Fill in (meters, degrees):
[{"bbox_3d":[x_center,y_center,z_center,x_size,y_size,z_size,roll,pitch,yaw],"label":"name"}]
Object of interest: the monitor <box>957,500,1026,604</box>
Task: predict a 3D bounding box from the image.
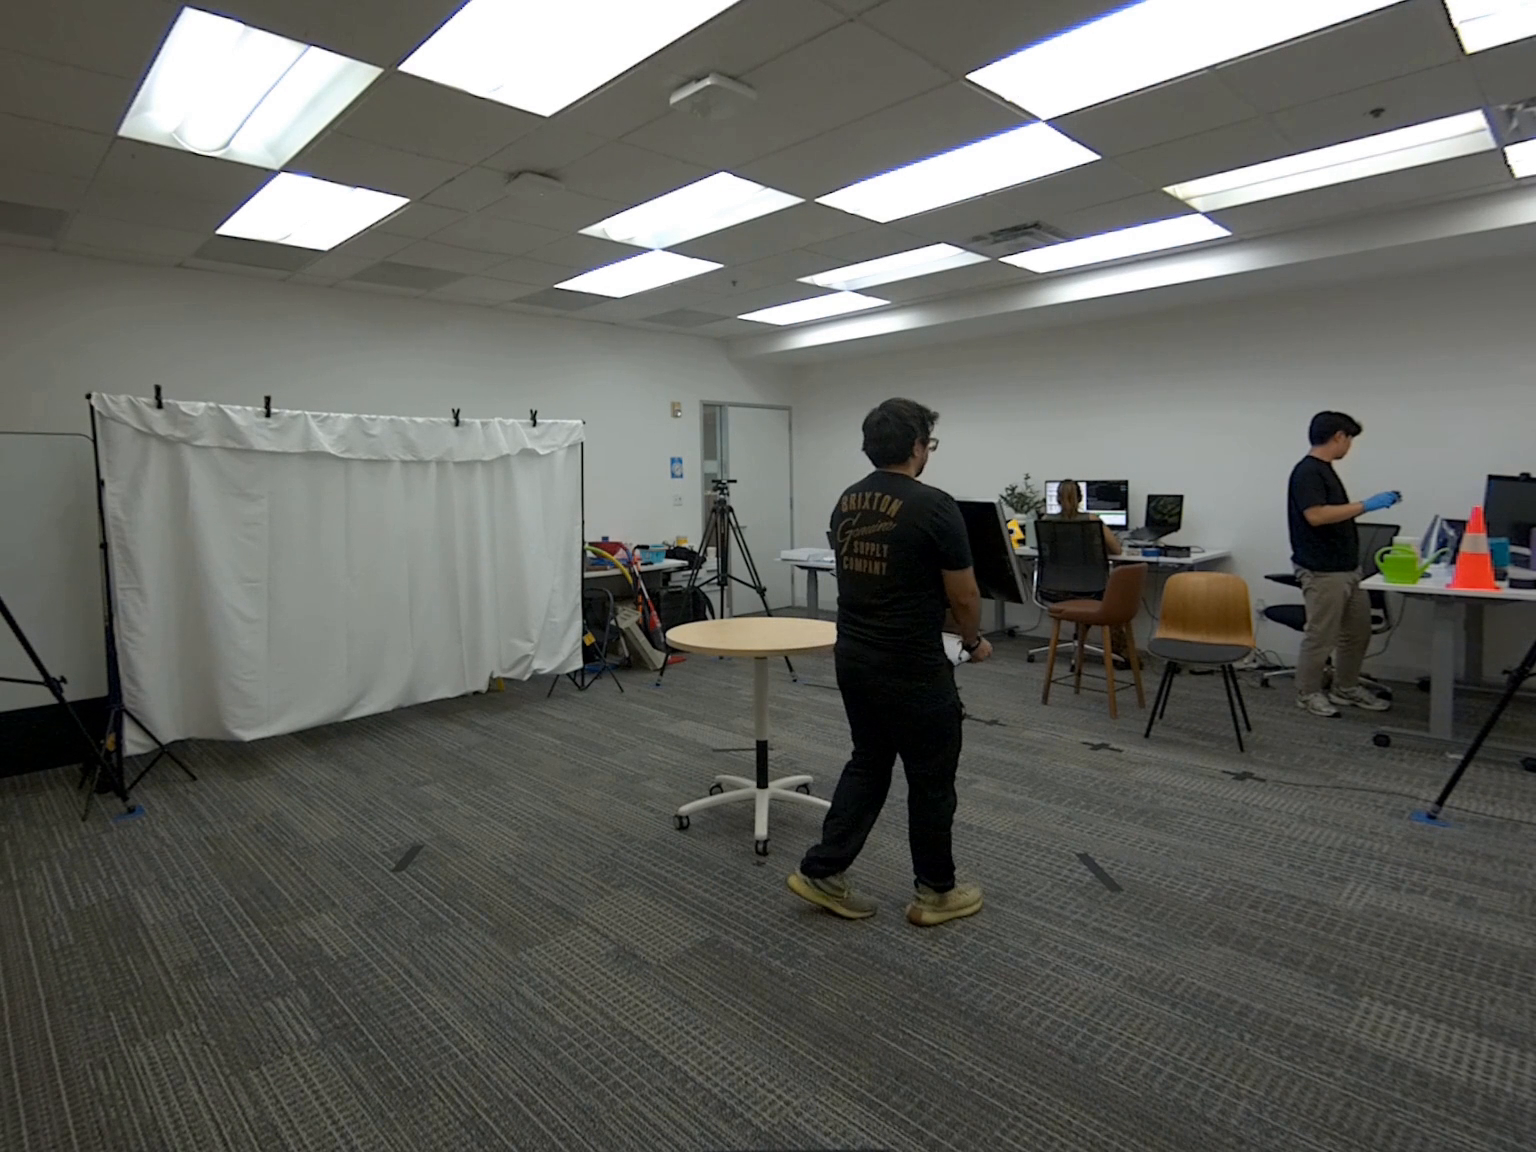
[{"bbox_3d":[0.533,0.007,2.824,0.207,0.544,0.583,-26,21,-32],"label":"monitor"}]
